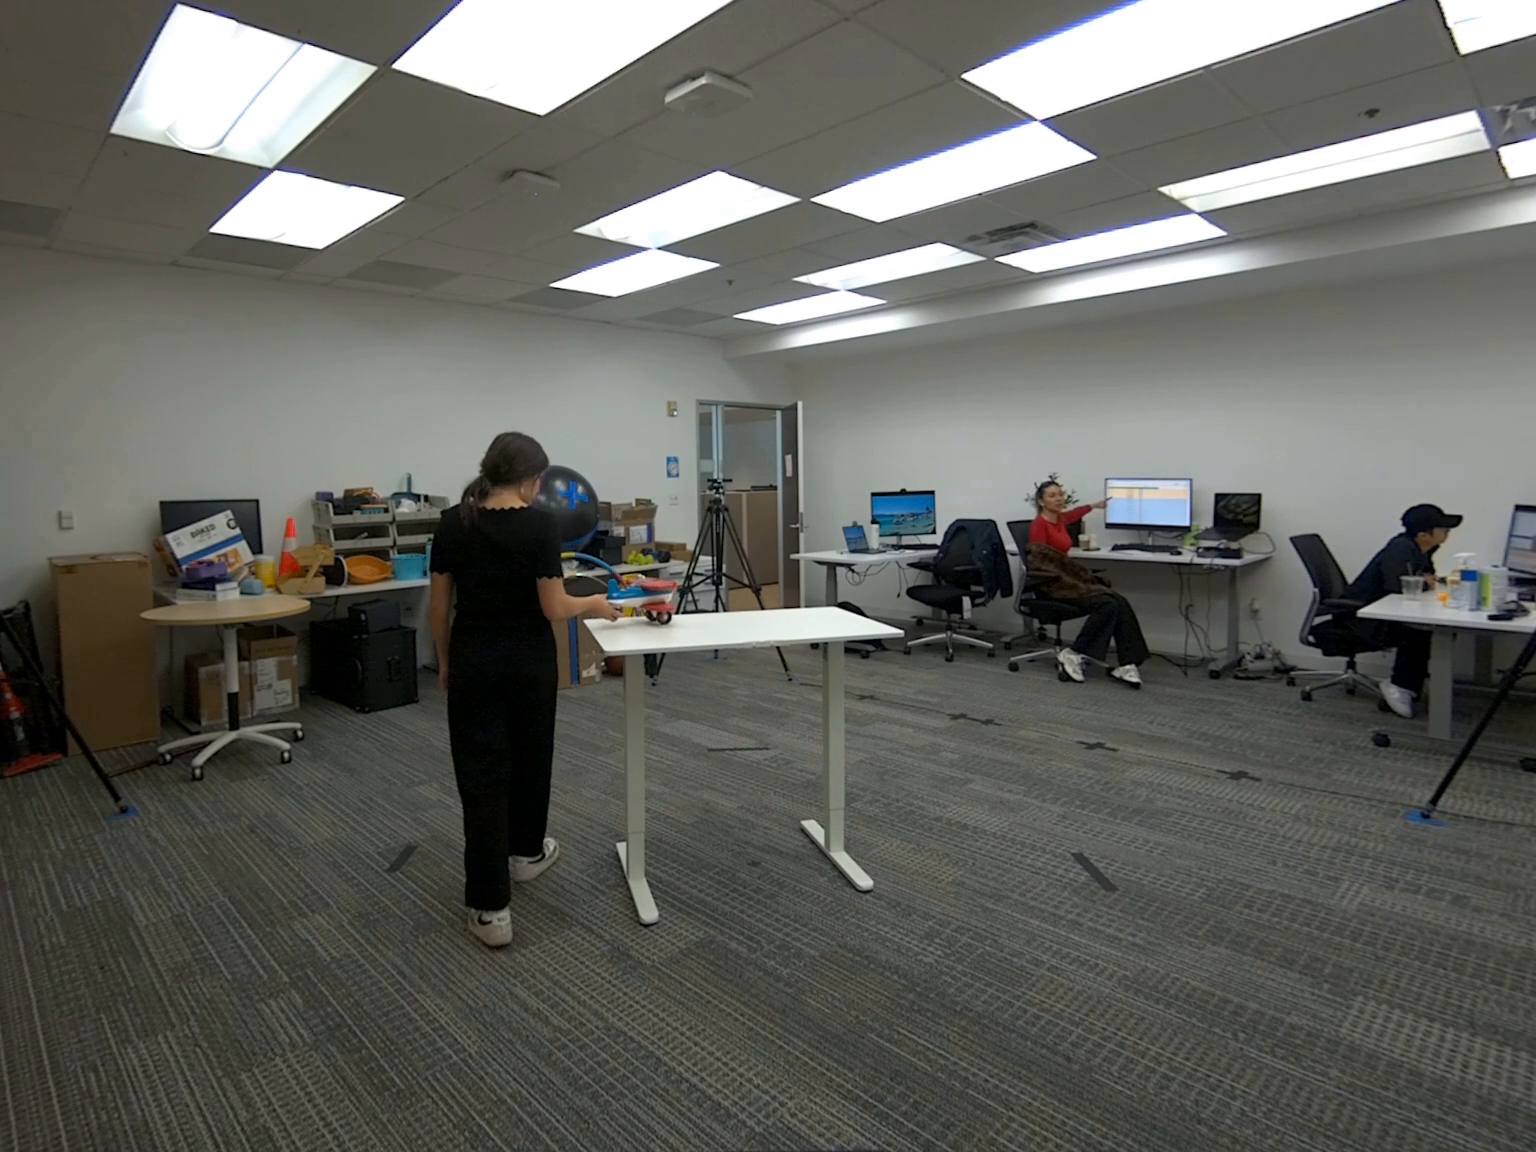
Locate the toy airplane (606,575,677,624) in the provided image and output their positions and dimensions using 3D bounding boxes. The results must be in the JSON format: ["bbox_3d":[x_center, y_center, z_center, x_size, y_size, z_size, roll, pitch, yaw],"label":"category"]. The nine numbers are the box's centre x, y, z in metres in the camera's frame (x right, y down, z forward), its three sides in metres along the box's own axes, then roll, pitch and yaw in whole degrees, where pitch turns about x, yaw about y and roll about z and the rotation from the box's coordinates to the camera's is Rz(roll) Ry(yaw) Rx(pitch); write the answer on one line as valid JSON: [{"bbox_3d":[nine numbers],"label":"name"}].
[{"bbox_3d":[-0.437,0.083,3.031,0.258,0.157,0.251,8,-2,29],"label":"toy airplane"}]
